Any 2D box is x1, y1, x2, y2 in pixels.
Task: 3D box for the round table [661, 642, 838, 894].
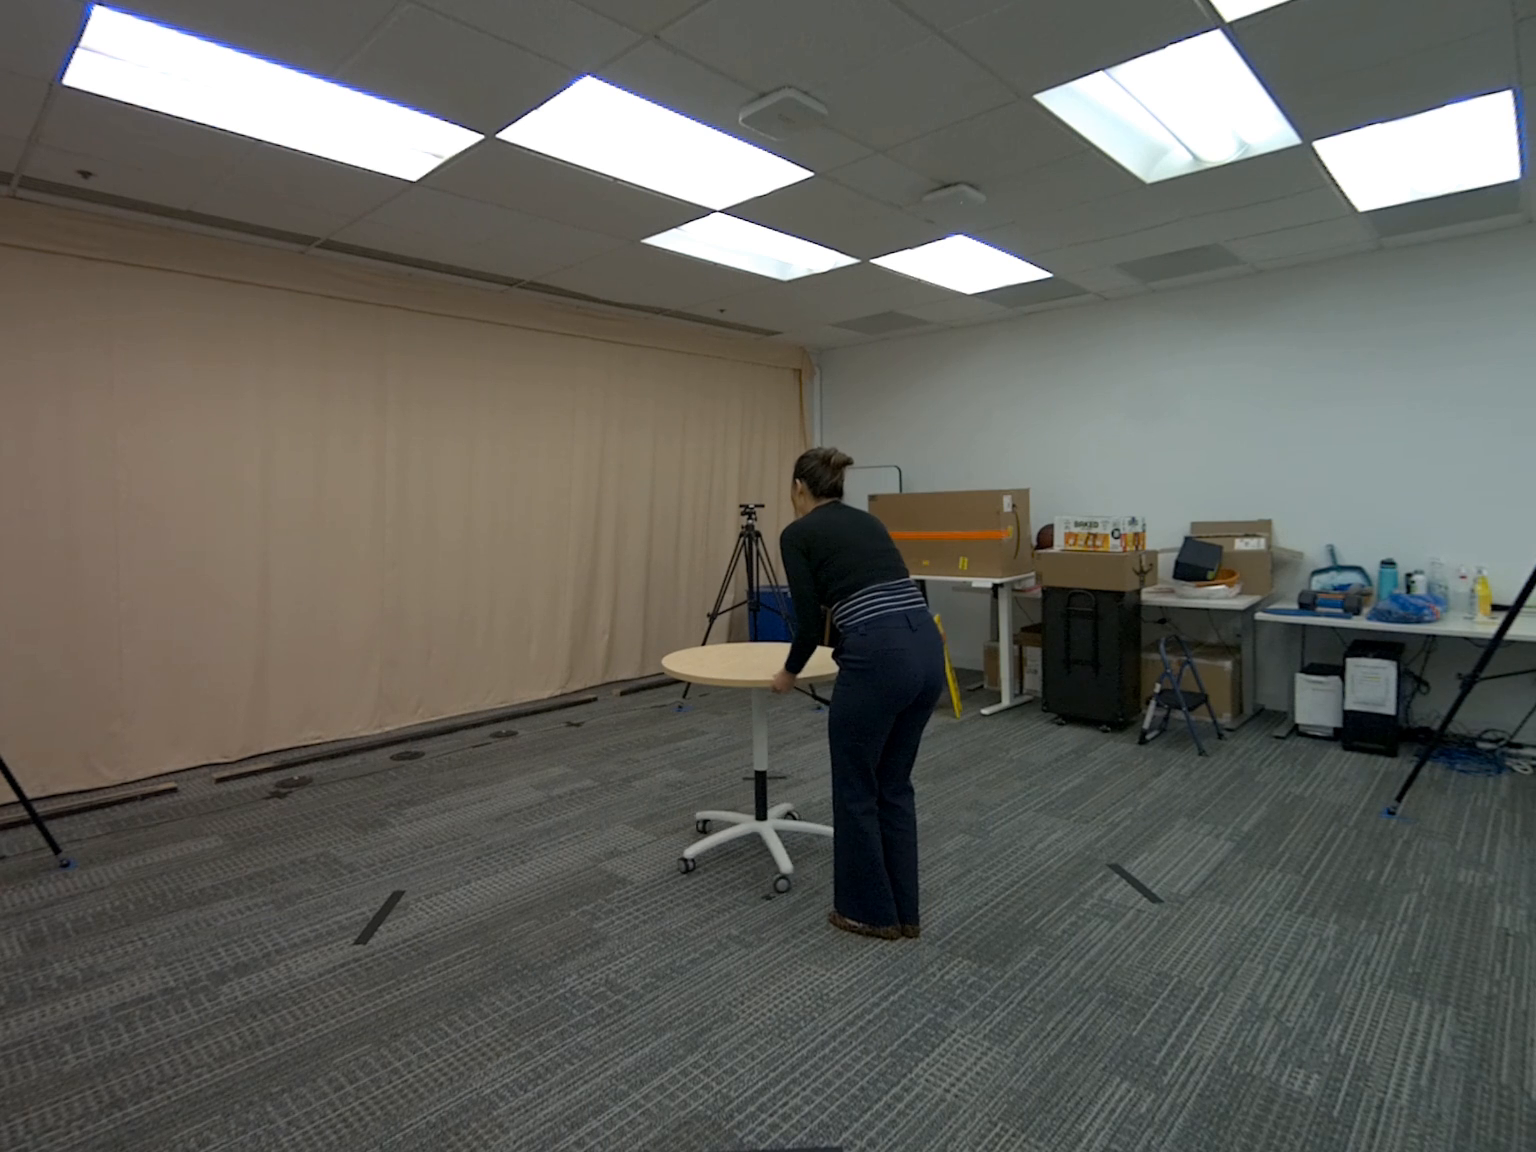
[{"bbox_3d":[-0.024,0.719,3.330,0.763,0.792,0.766,-1,4,-2],"label":"round table"}]
